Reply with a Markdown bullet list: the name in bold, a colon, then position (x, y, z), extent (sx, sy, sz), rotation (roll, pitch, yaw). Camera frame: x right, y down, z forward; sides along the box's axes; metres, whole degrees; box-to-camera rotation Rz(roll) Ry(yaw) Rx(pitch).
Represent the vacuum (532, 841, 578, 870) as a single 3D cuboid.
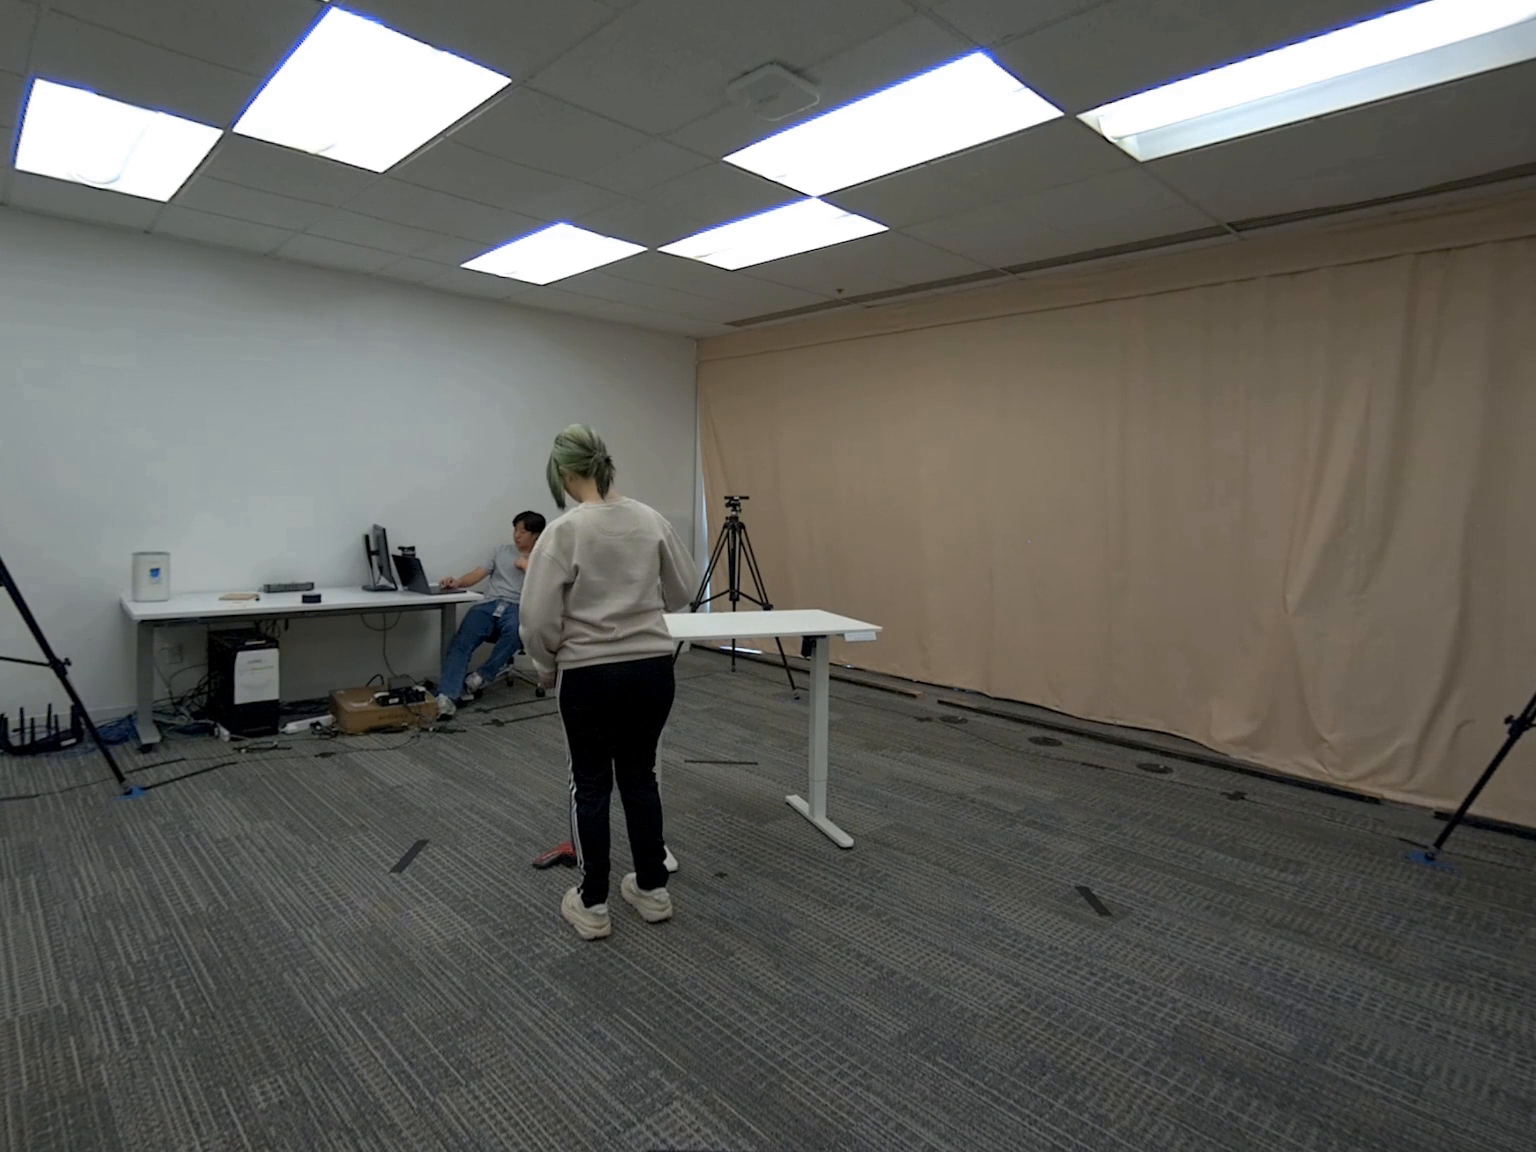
- **vacuum**: position (-0.650, 0.585, 3.138), extent (0.147, 1.044, 0.247), rotation (19, 10, 28)
